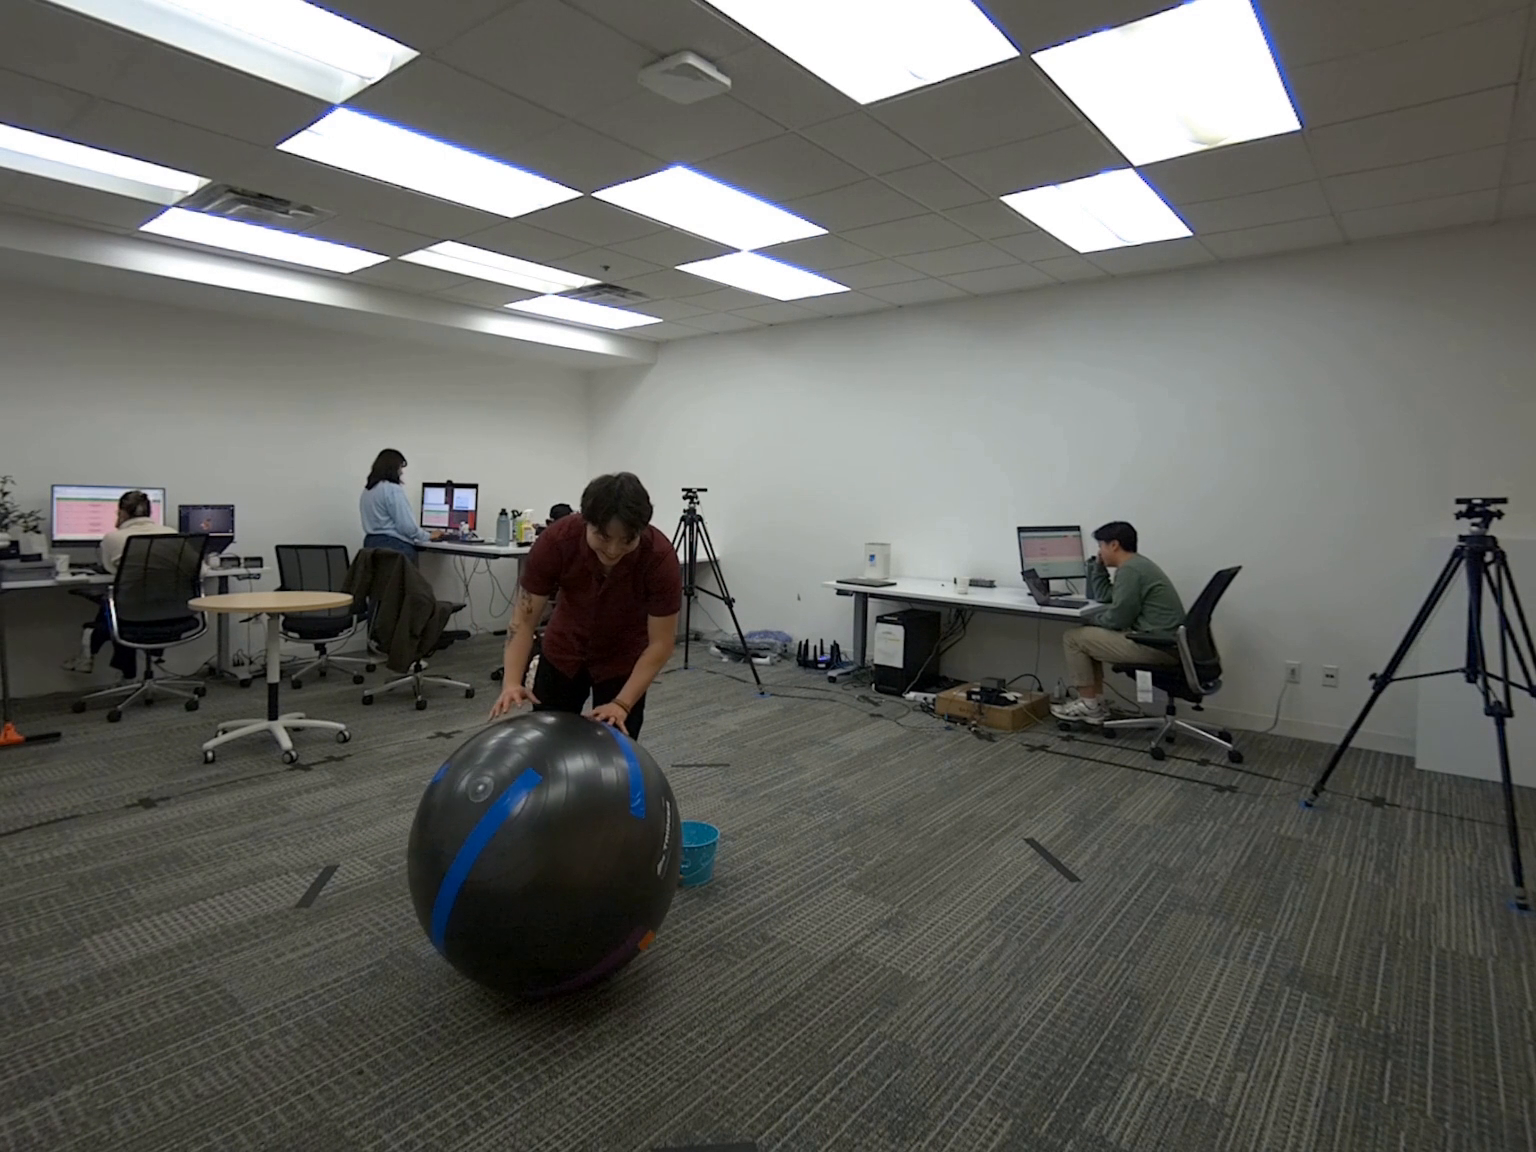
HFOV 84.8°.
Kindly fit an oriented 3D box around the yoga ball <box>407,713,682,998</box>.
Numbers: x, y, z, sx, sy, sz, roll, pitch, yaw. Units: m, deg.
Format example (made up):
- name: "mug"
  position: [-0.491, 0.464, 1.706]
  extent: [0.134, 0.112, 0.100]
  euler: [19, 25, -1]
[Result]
- name: "yoga ball"
  position: [-0.630, 0.768, 2.402]
  extent: [0.757, 0.755, 0.762]
  euler: [1, 4, -2]
